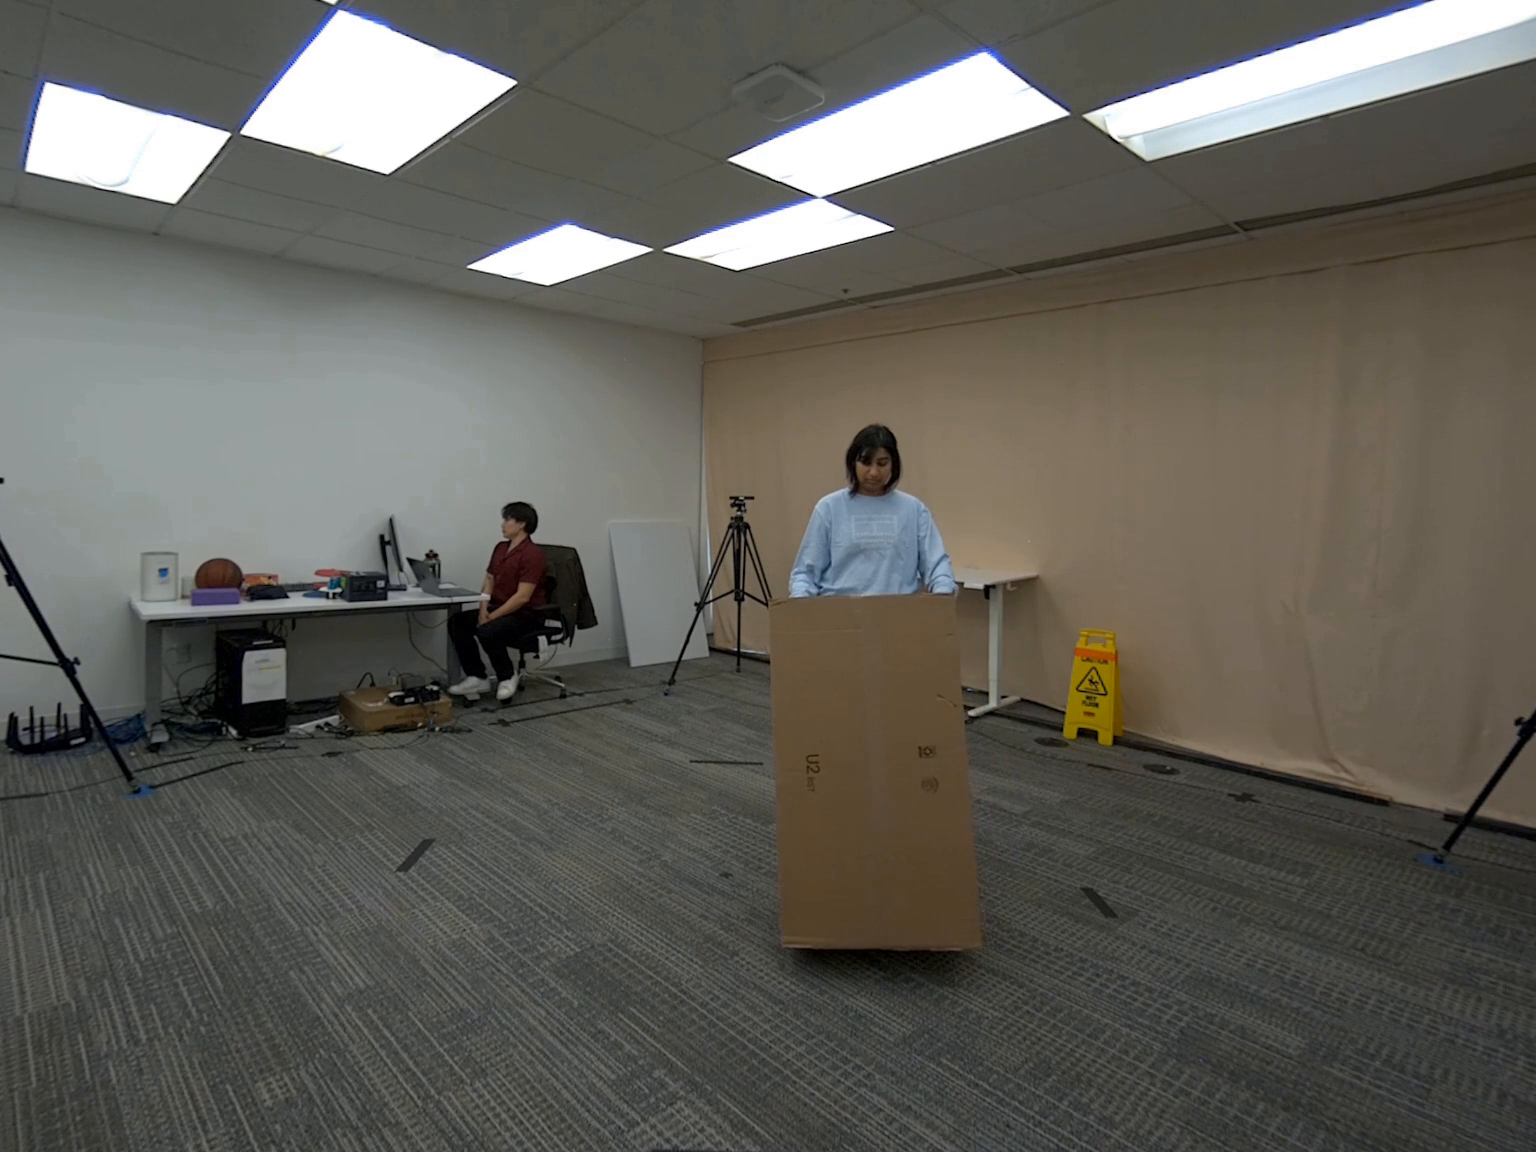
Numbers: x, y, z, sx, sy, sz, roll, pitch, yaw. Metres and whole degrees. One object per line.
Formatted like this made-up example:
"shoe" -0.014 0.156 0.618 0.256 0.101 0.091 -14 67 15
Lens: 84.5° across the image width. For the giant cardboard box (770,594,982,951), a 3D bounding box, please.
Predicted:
"giant cardboard box" 0.321 0.596 2.704 0.587 1.035 0.441 -3 -10 7
